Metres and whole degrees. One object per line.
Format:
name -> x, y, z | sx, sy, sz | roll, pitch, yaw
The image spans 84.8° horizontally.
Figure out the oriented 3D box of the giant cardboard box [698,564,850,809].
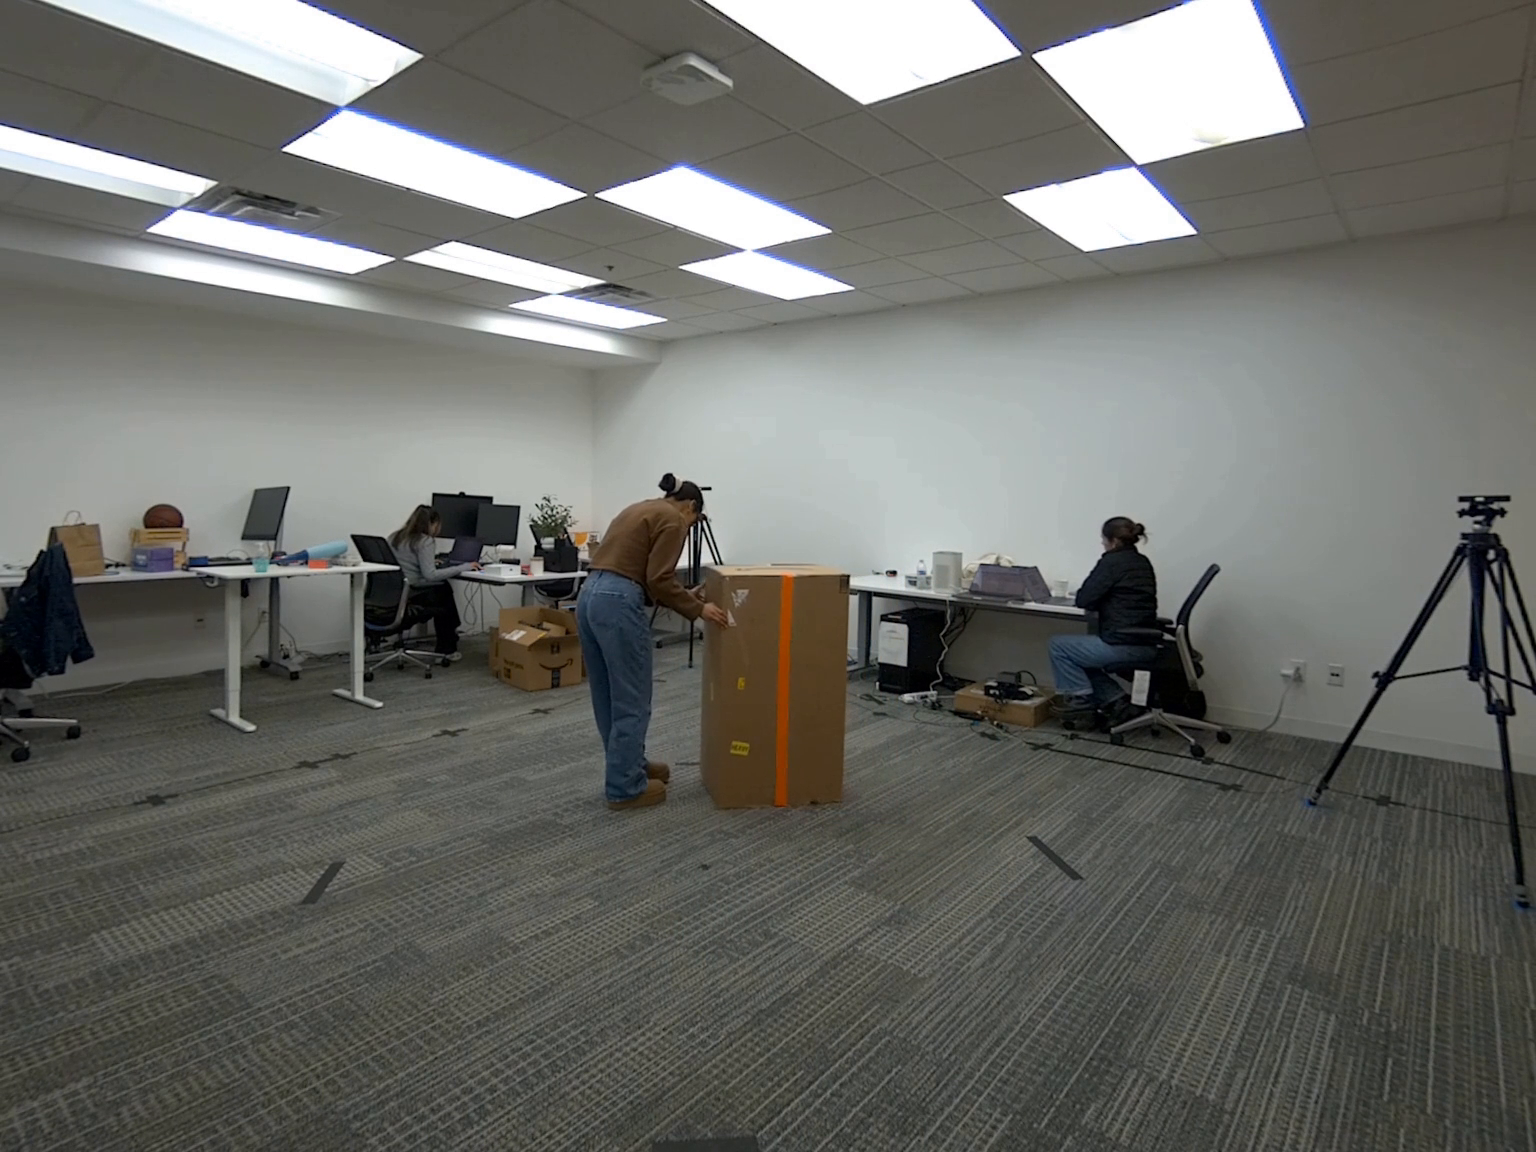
giant cardboard box -> 0.008, 0.479, 3.914 | 0.570, 1.022, 0.434 | 0, 4, -13
